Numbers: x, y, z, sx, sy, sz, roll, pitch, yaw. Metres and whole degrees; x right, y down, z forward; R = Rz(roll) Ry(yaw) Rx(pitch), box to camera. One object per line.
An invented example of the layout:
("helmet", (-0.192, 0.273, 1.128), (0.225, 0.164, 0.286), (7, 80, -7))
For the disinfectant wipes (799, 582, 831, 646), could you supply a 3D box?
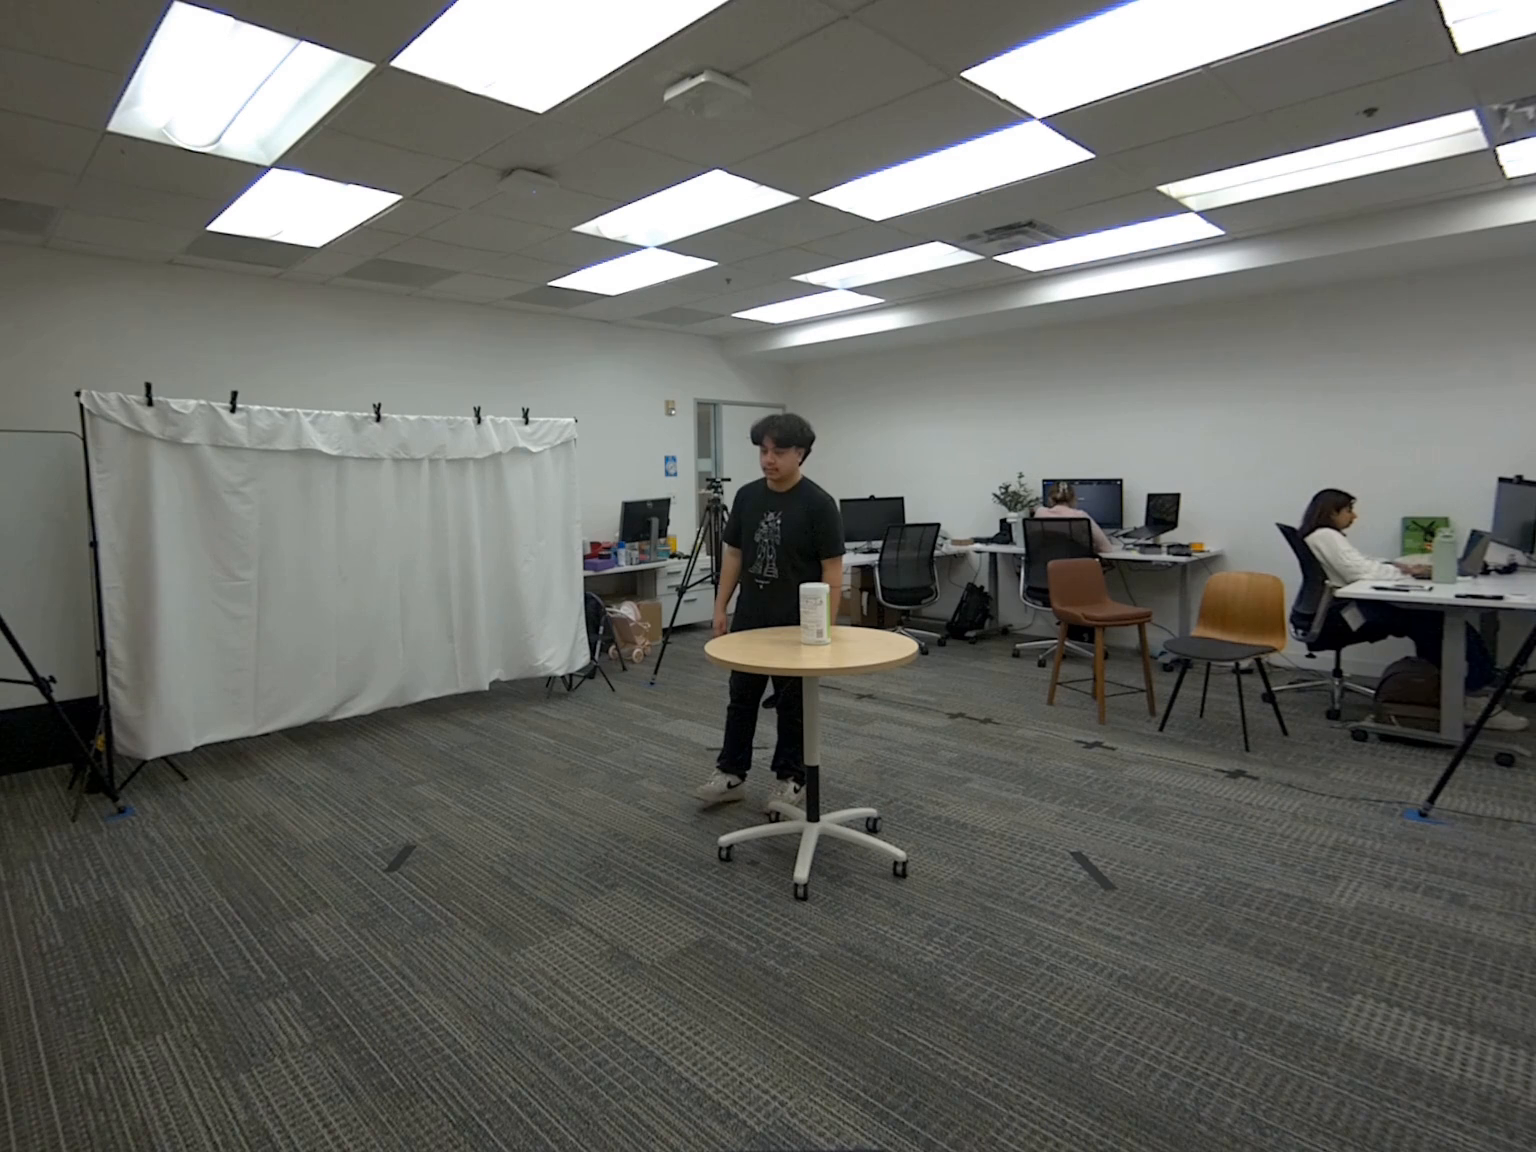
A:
("disinfectant wipes", (0.171, 0.141, 3.118), (0.118, 0.216, 0.118), (0, 5, -2))
